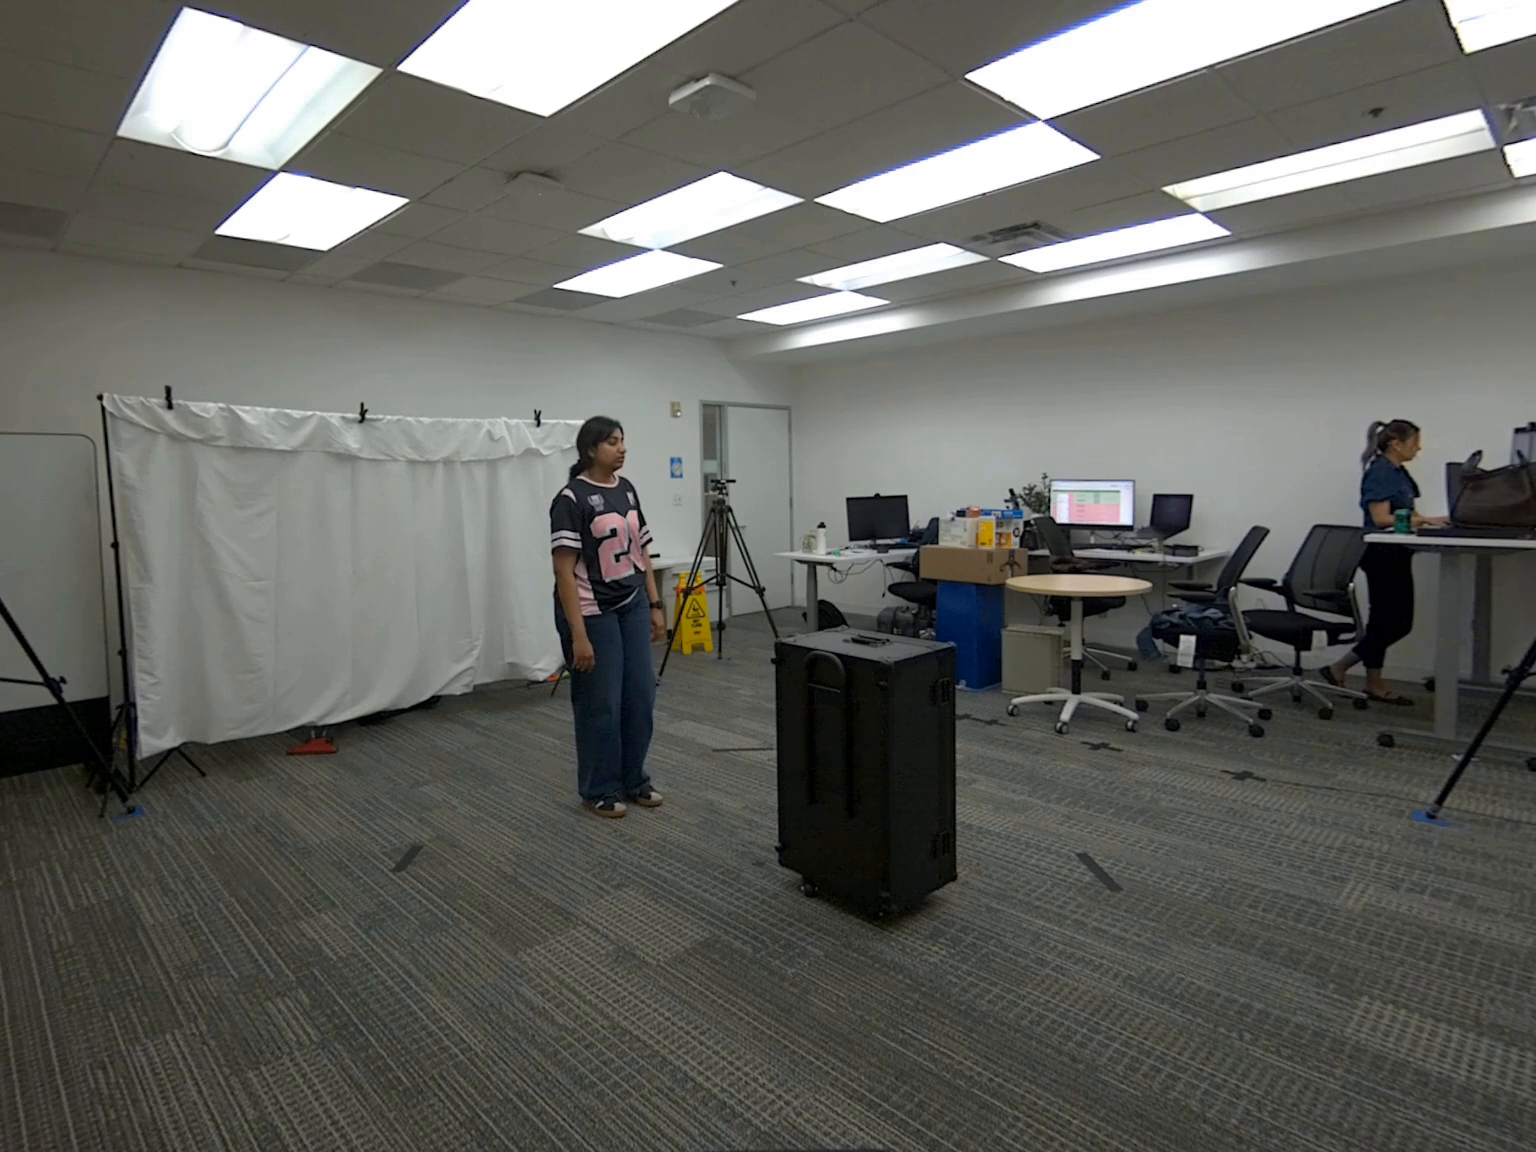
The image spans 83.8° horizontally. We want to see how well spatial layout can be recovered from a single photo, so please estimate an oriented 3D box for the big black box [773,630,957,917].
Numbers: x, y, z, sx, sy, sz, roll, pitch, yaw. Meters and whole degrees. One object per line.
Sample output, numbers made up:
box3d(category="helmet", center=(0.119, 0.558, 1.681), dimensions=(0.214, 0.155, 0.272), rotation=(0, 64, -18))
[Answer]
box3d(category="big black box", center=(0.331, 0.648, 2.840), dimensions=(0.375, 0.865, 0.539), rotation=(-5, 5, -43))
